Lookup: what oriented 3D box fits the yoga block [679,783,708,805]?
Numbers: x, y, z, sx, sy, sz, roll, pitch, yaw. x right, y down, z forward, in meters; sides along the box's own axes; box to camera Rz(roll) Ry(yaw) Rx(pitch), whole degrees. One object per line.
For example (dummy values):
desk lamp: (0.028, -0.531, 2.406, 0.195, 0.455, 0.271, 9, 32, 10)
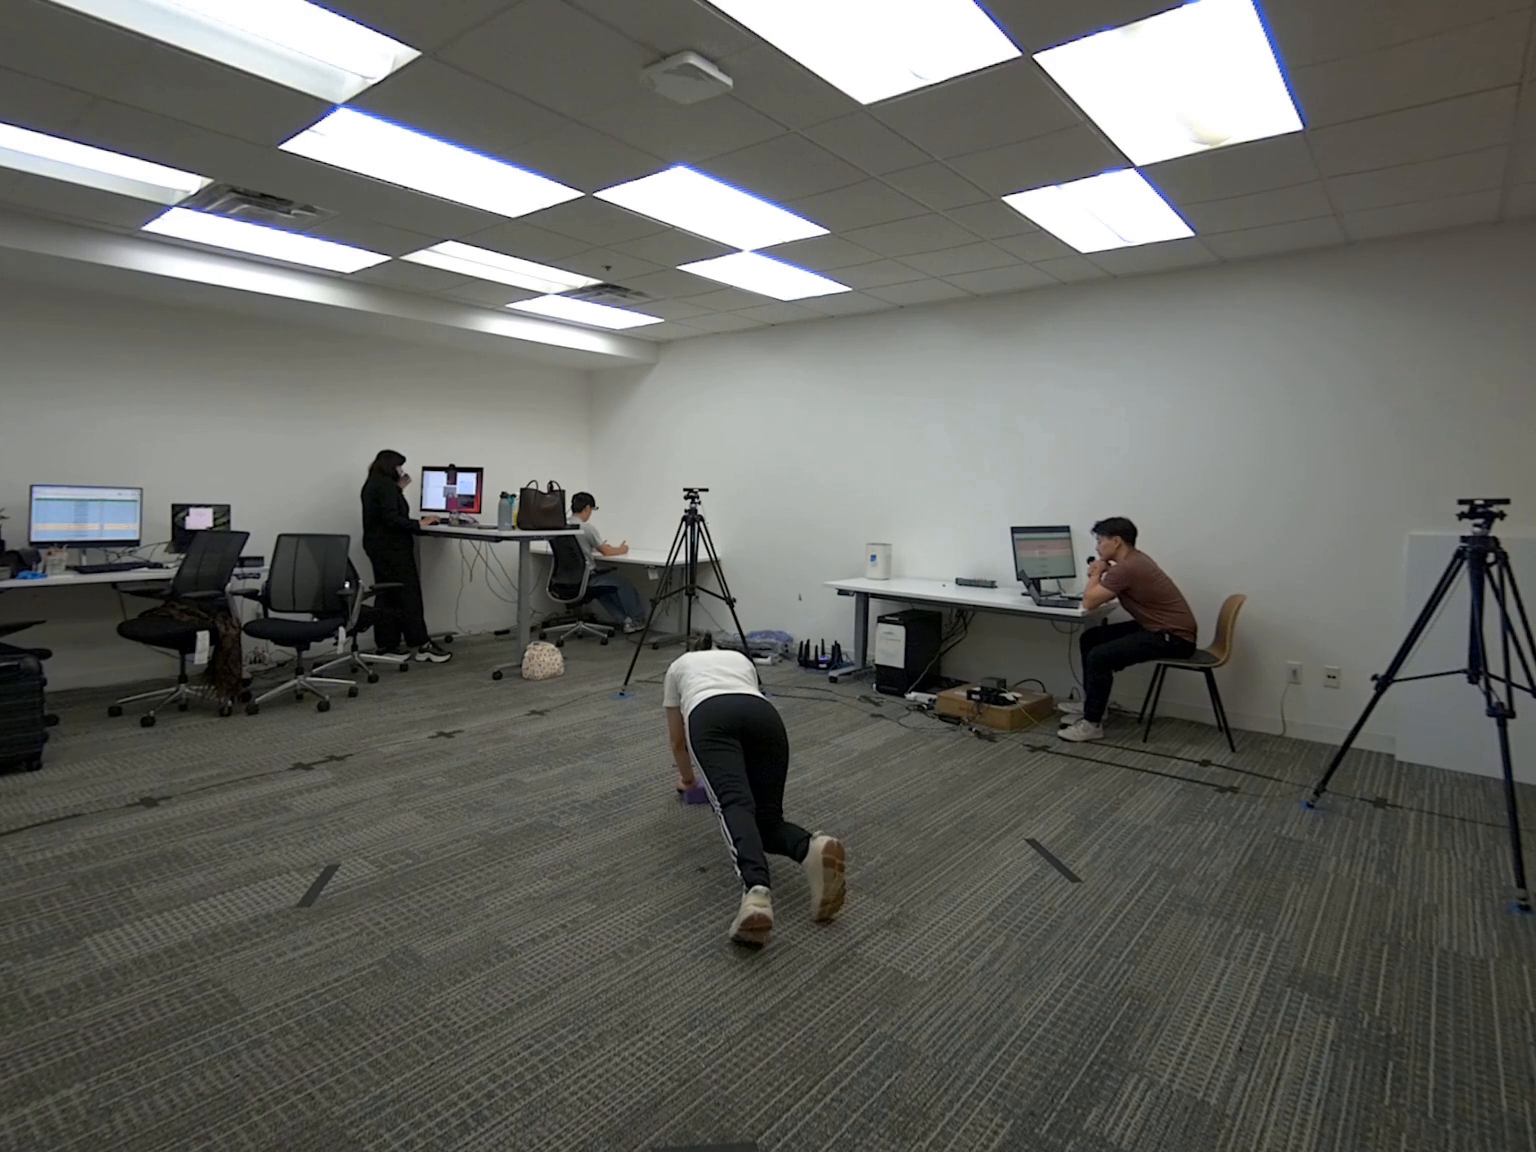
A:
yoga block: (-0.274, 0.958, 3.838, 0.226, 0.076, 0.152, -2, 5, -15)
